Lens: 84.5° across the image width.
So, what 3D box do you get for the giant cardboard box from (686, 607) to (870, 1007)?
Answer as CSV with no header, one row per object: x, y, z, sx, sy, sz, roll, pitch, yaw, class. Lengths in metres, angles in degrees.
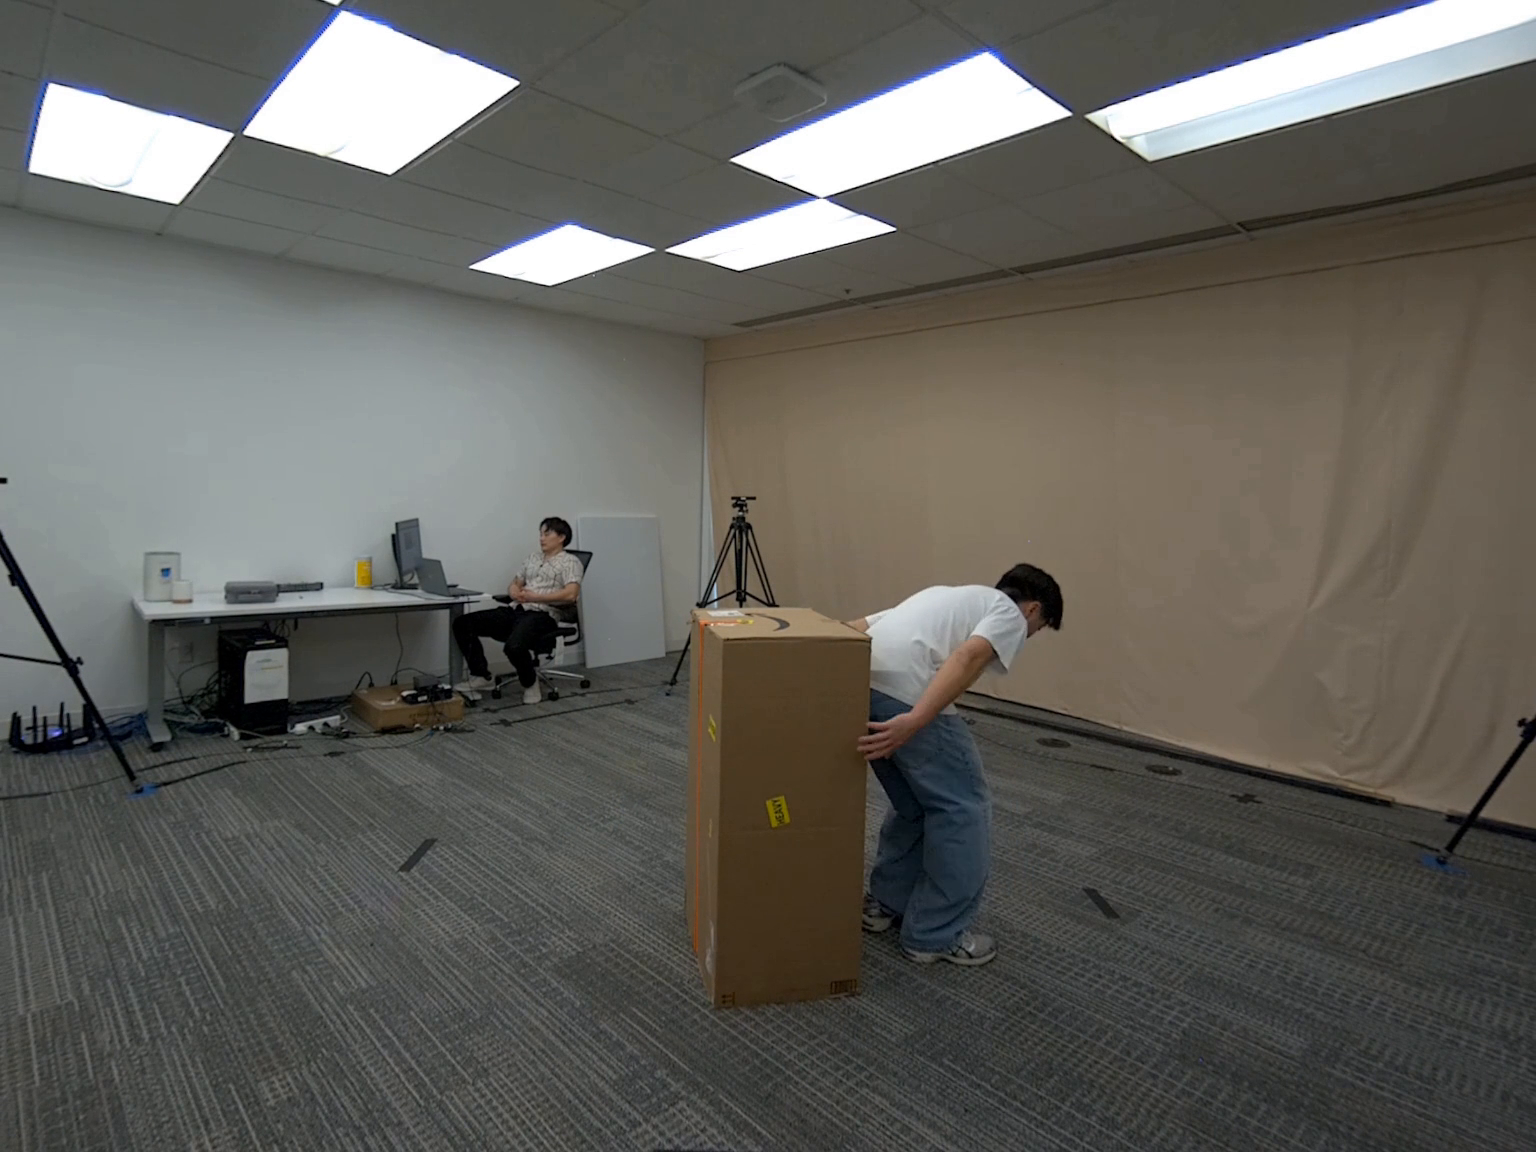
-0.005,0.647,2.575,0.422,1.023,0.585,0,4,-14,giant cardboard box
